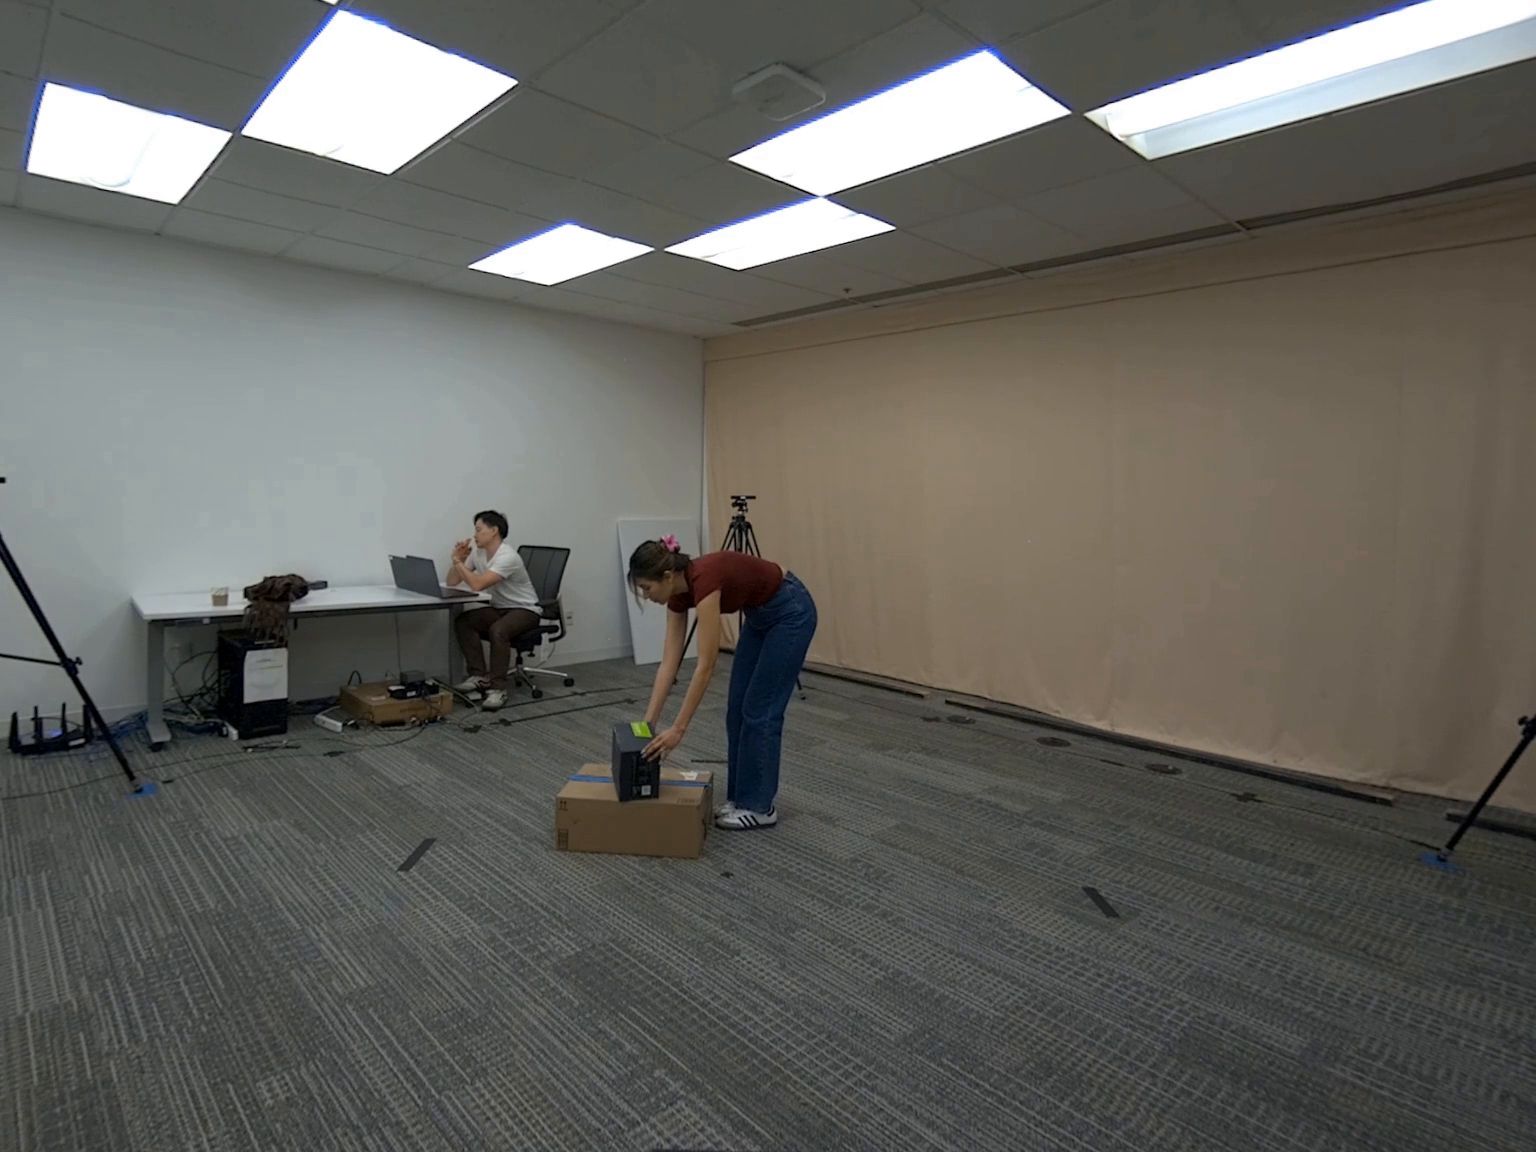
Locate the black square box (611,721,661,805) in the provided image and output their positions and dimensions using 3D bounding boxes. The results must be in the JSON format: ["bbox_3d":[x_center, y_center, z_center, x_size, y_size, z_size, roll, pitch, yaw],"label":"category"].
[{"bbox_3d":[-0.524,0.726,3.317,0.154,0.214,0.233,-1,17,-16],"label":"black square box"}]
